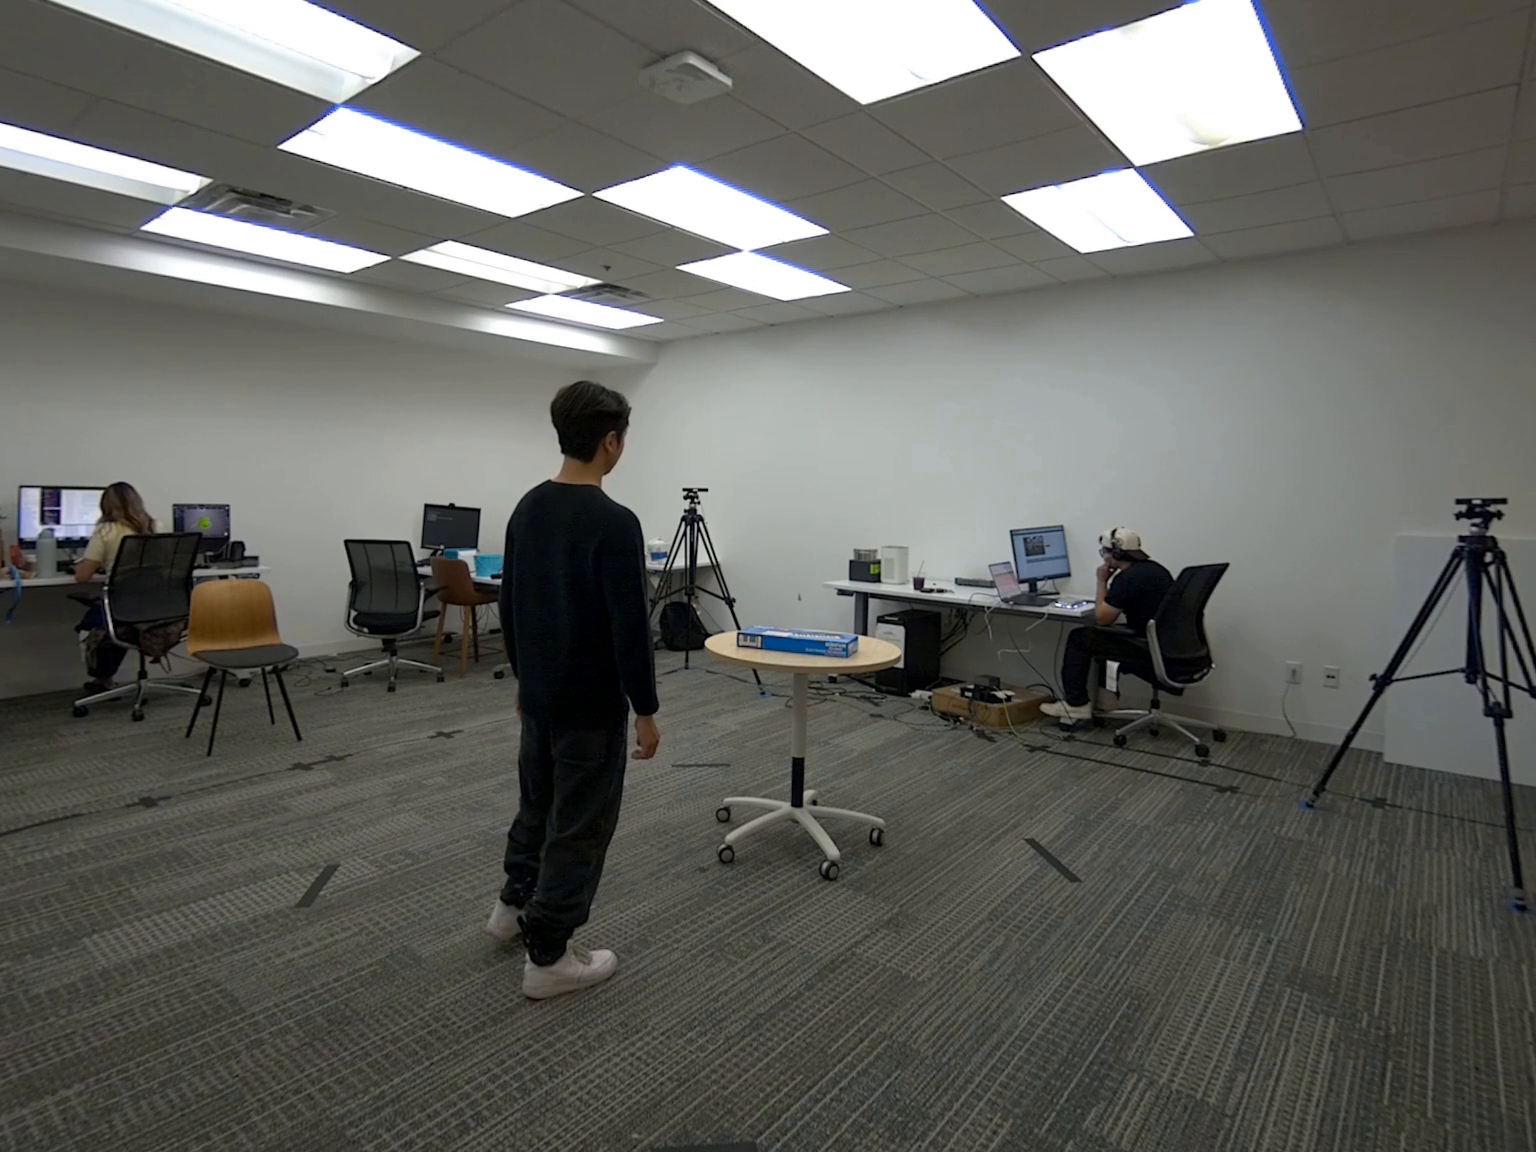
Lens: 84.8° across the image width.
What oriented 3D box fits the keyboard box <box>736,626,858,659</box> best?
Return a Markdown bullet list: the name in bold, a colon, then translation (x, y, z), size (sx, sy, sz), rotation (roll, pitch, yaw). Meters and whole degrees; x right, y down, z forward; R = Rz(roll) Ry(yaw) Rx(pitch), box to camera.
- **keyboard box**: translation (0.102, 0.246, 3.274), size (0.447, 0.059, 0.173), rotation (4, 7, 20)
